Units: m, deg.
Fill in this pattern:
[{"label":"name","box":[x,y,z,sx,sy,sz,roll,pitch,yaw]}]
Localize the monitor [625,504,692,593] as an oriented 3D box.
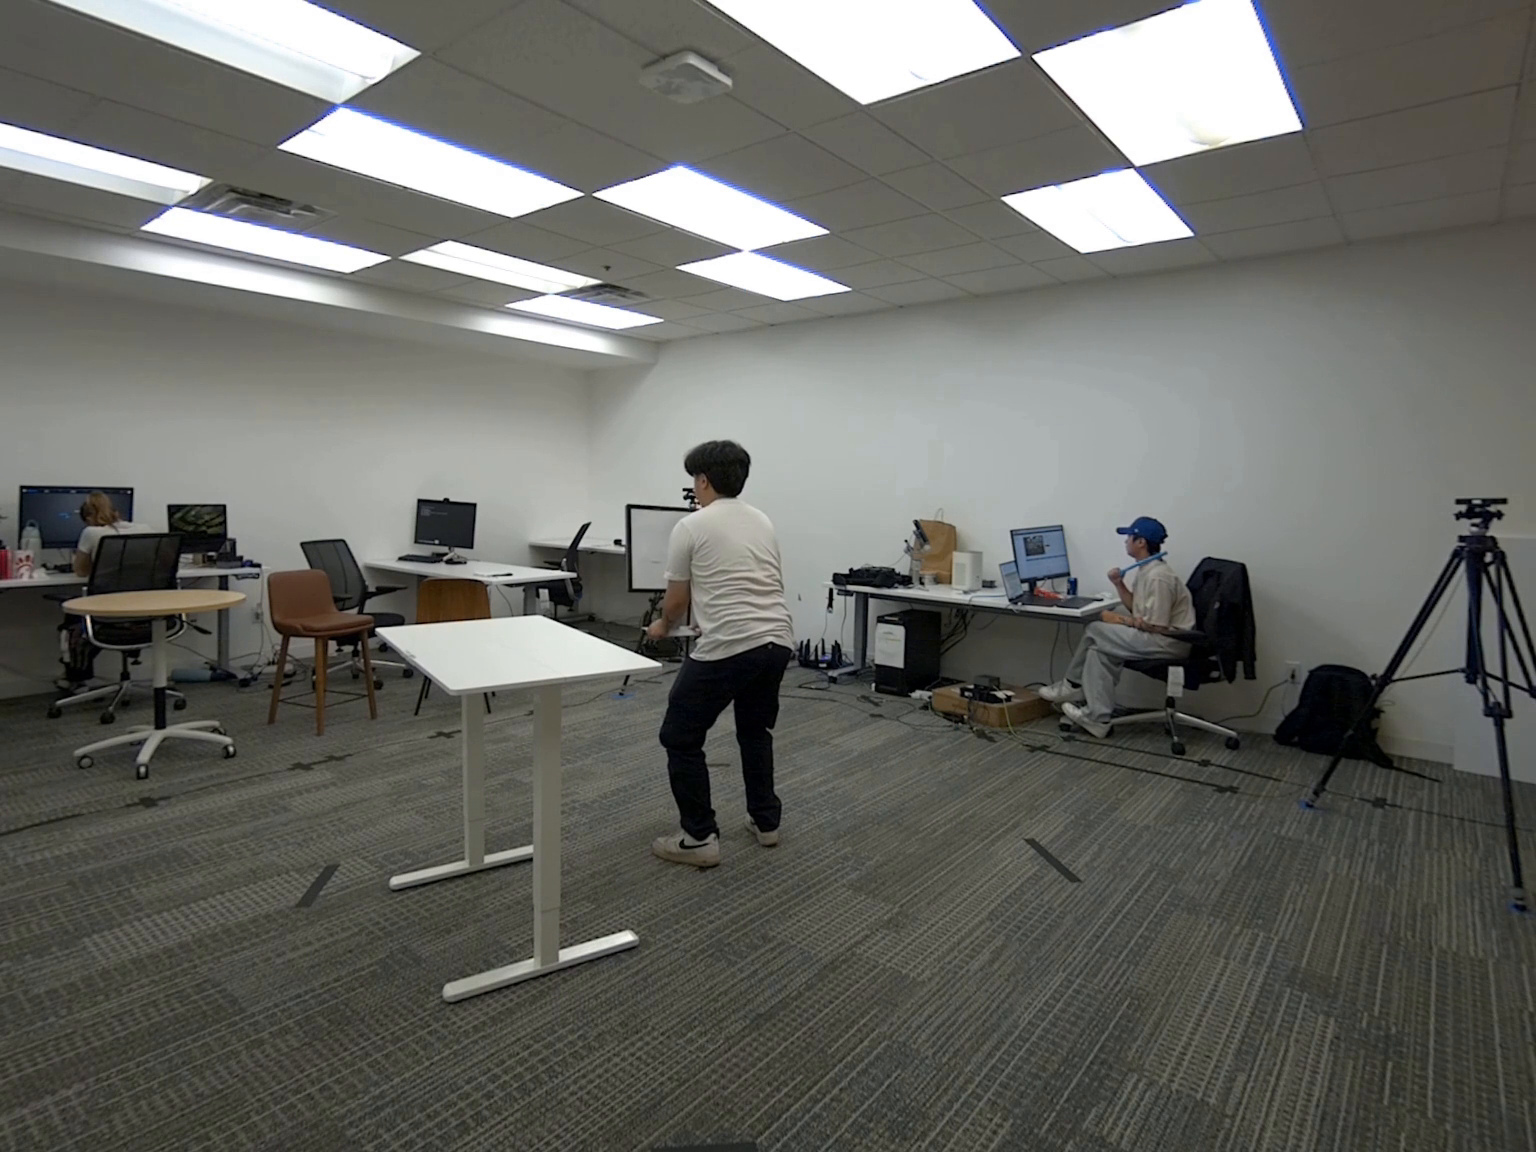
[{"label":"monitor","box":[-0.398,-0.021,3.658,0.549,0.554,0.216,1,-1,-33]}]
